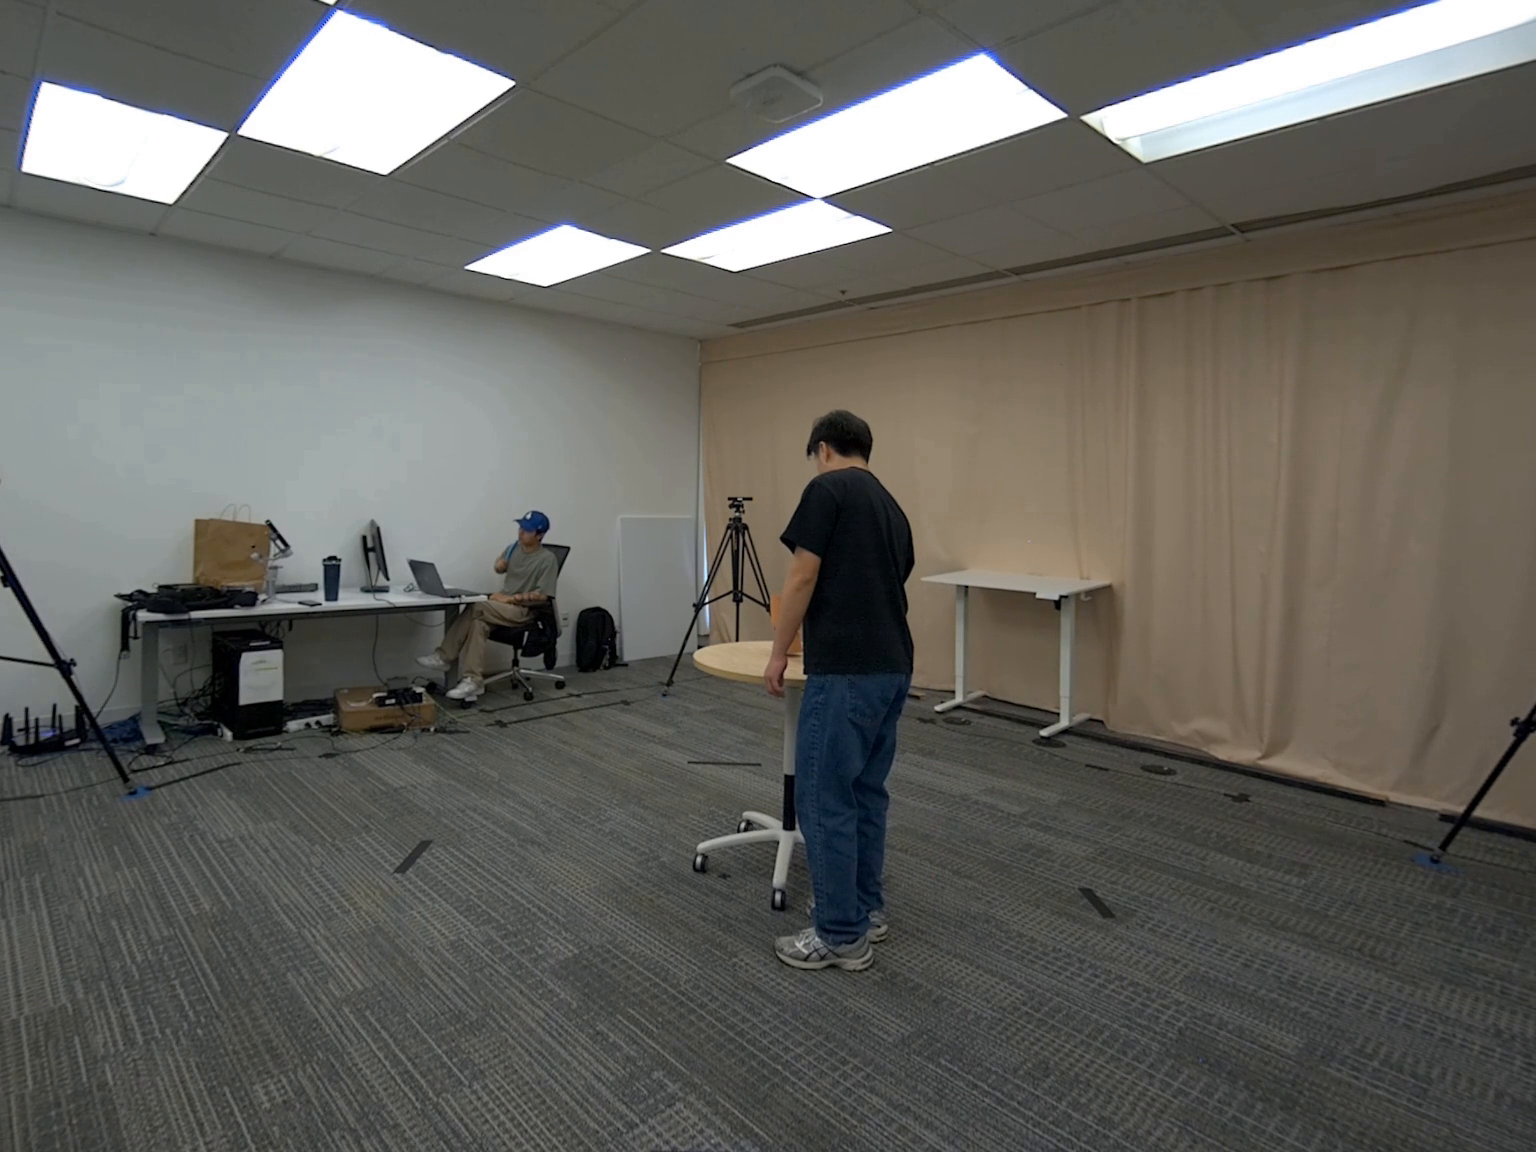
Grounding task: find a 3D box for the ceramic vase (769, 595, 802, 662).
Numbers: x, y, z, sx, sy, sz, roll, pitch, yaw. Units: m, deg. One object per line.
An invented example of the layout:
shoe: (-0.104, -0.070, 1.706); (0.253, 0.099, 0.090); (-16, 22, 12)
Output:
ceramic vase: (0.073, 0.188, 3.225); (0.136, 0.220, 0.157); (-3, -3, 12)
